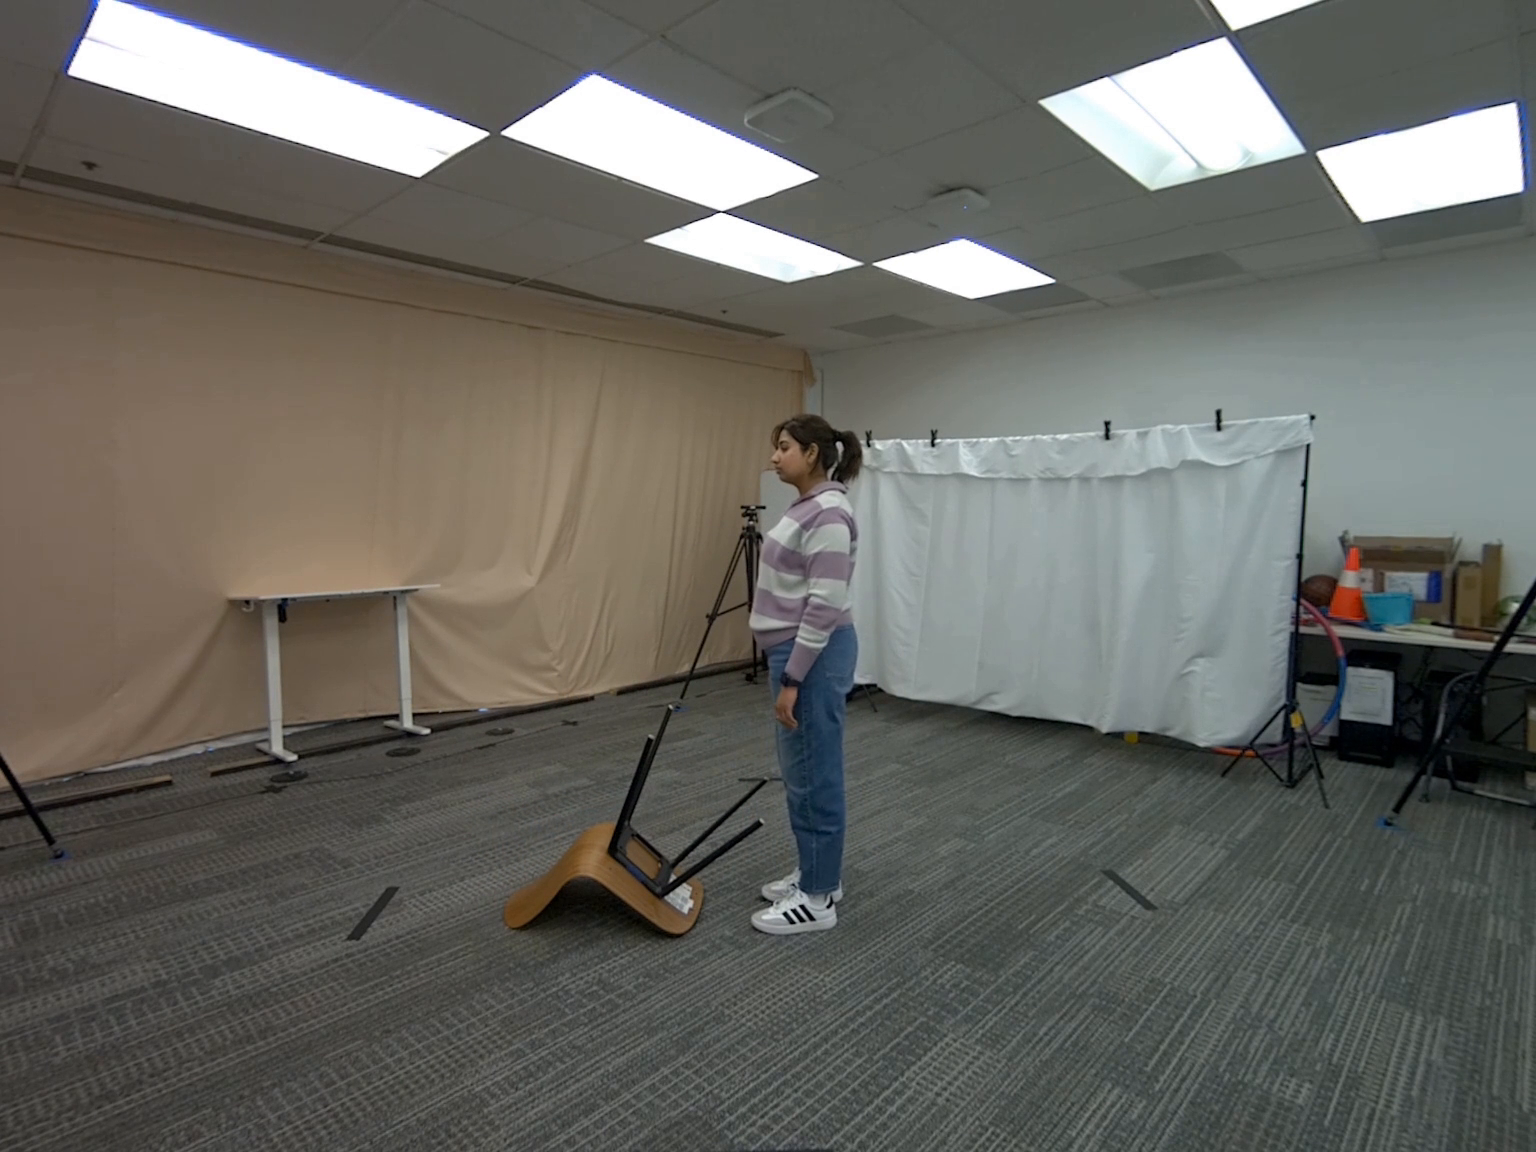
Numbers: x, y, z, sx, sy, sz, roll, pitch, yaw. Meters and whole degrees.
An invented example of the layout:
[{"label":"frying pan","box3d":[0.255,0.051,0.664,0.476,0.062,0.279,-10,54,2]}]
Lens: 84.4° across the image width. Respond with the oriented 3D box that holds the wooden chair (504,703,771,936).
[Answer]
[{"label":"wooden chair","box3d":[-0.432,0.984,2.917,0.524,0.878,0.477,40,5,1]}]
